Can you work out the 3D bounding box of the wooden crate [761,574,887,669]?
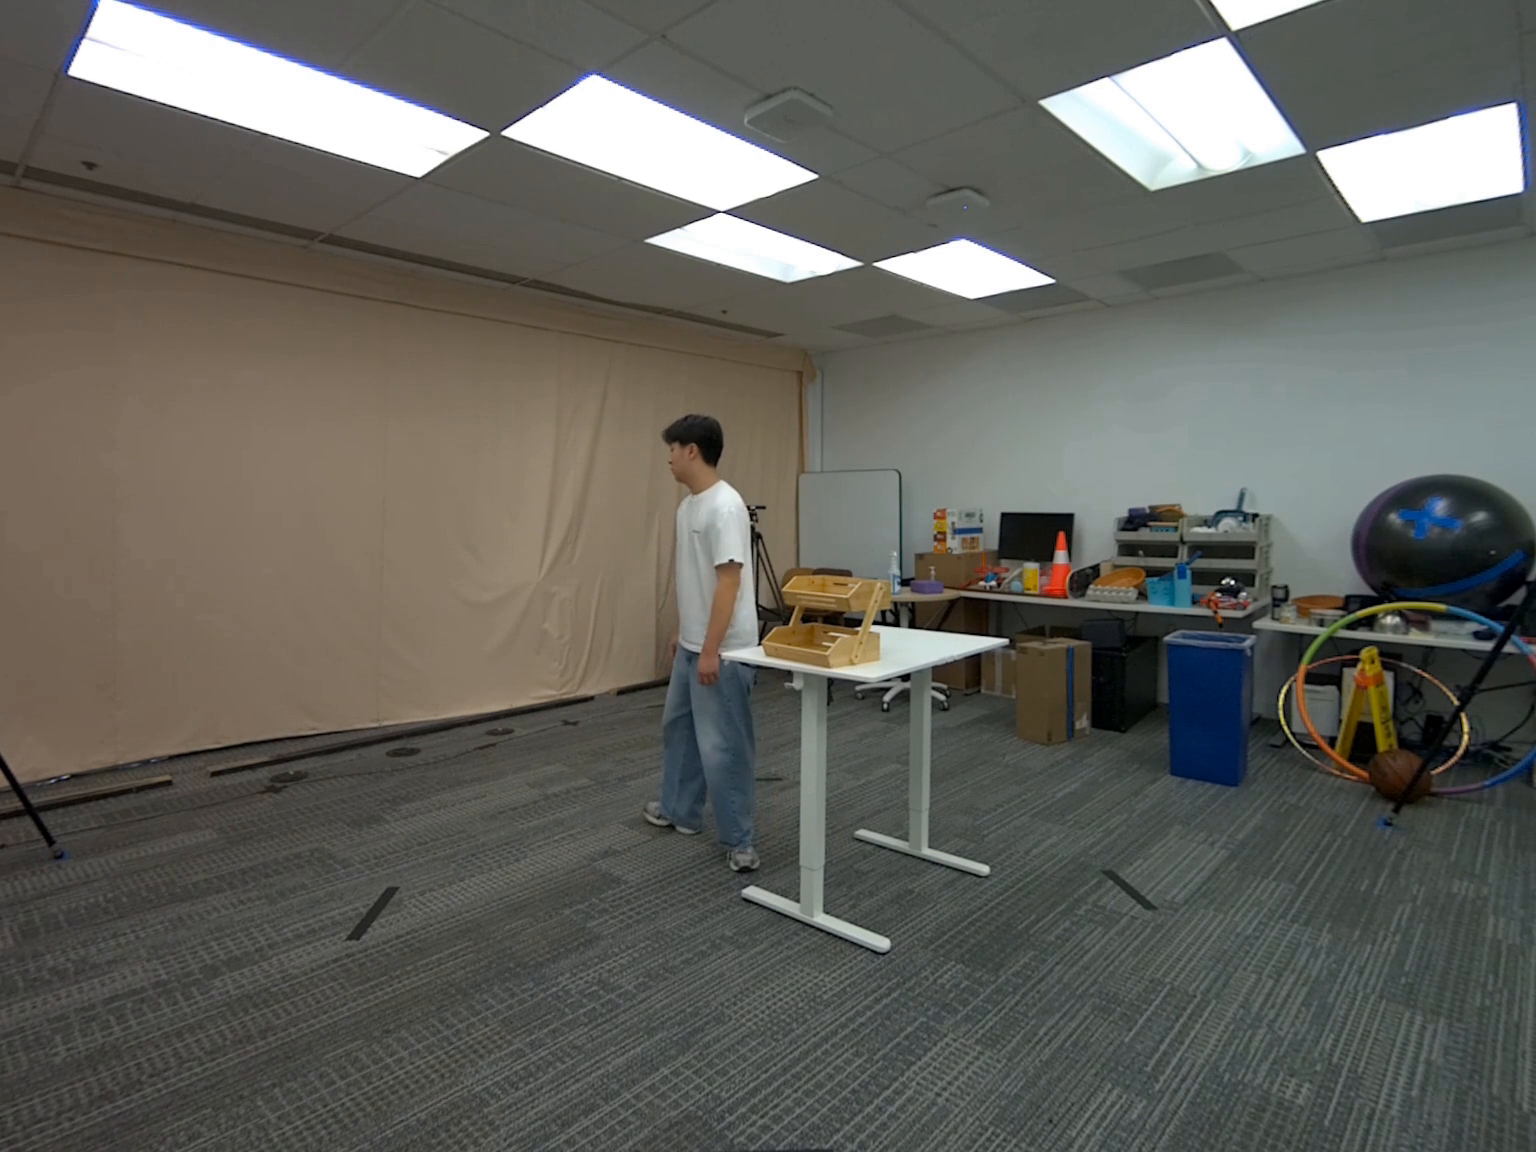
[{"bbox_3d":[0.193,0.140,2.798,0.292,0.273,0.335,-2,4,-42],"label":"wooden crate"}]
